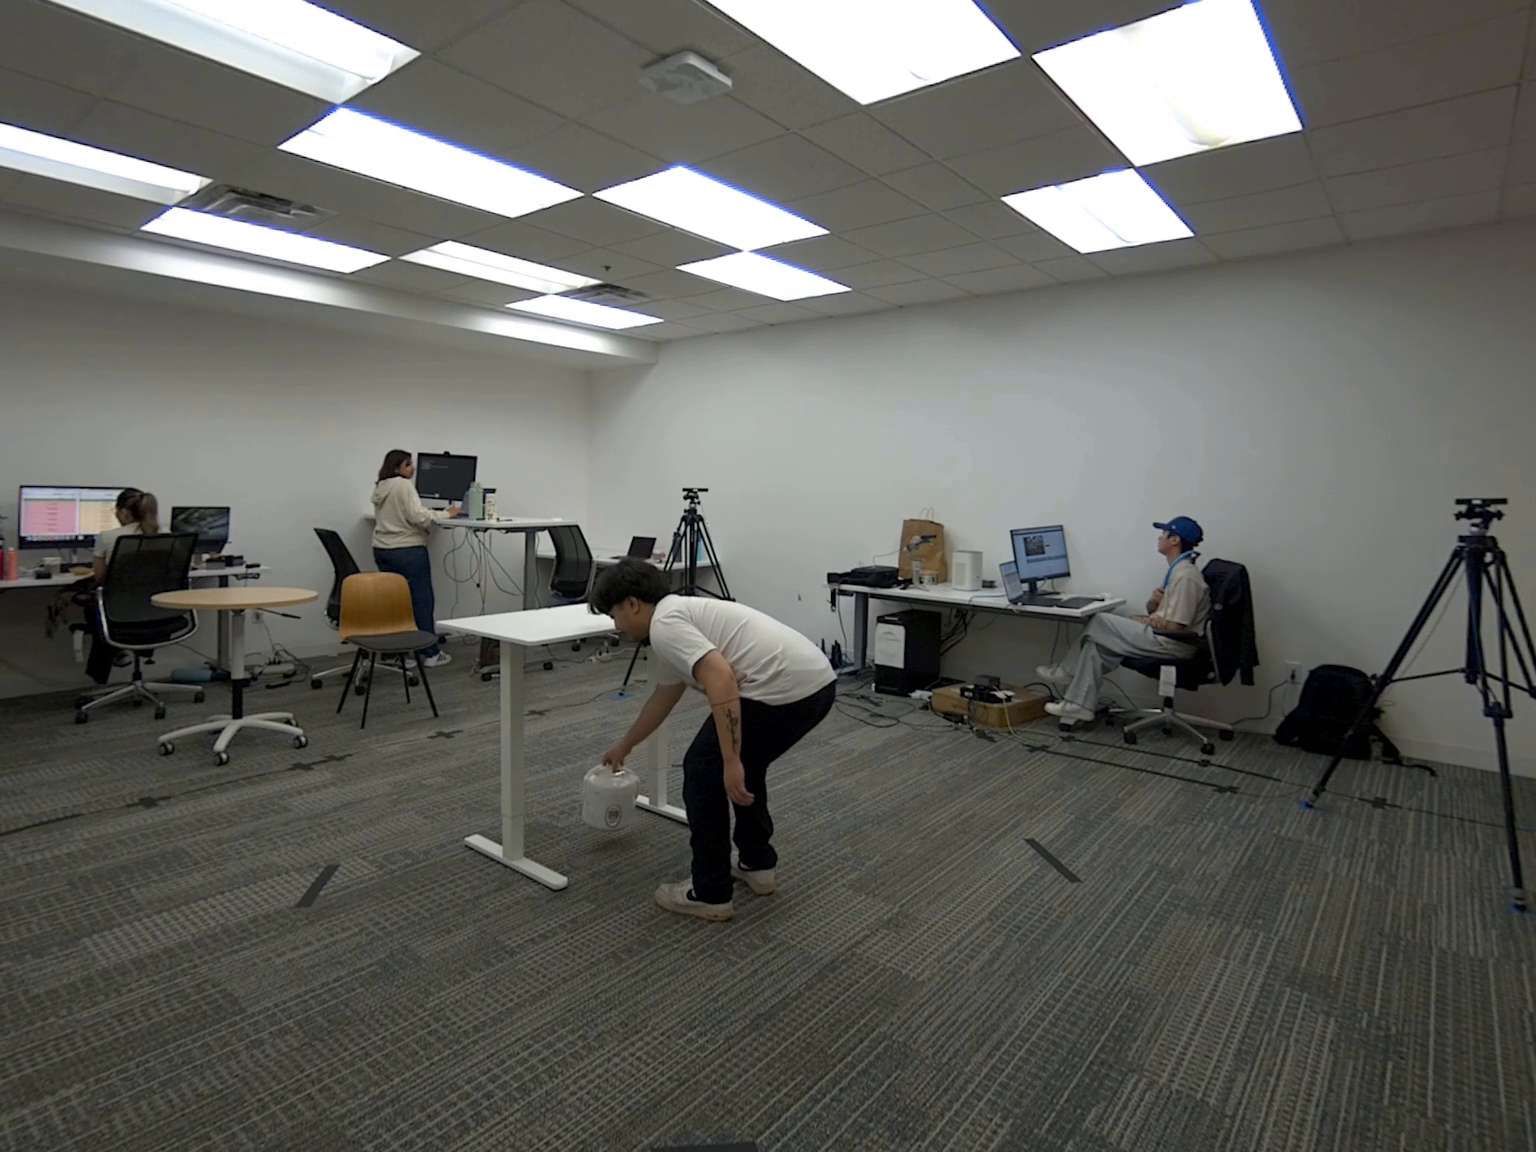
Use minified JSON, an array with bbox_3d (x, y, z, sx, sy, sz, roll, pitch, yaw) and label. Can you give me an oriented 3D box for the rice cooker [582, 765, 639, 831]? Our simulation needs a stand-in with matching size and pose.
[{"bbox_3d":[-0.622,0.850,3.321,0.216,0.231,0.223,3,8,-18],"label":"rice cooker"}]
